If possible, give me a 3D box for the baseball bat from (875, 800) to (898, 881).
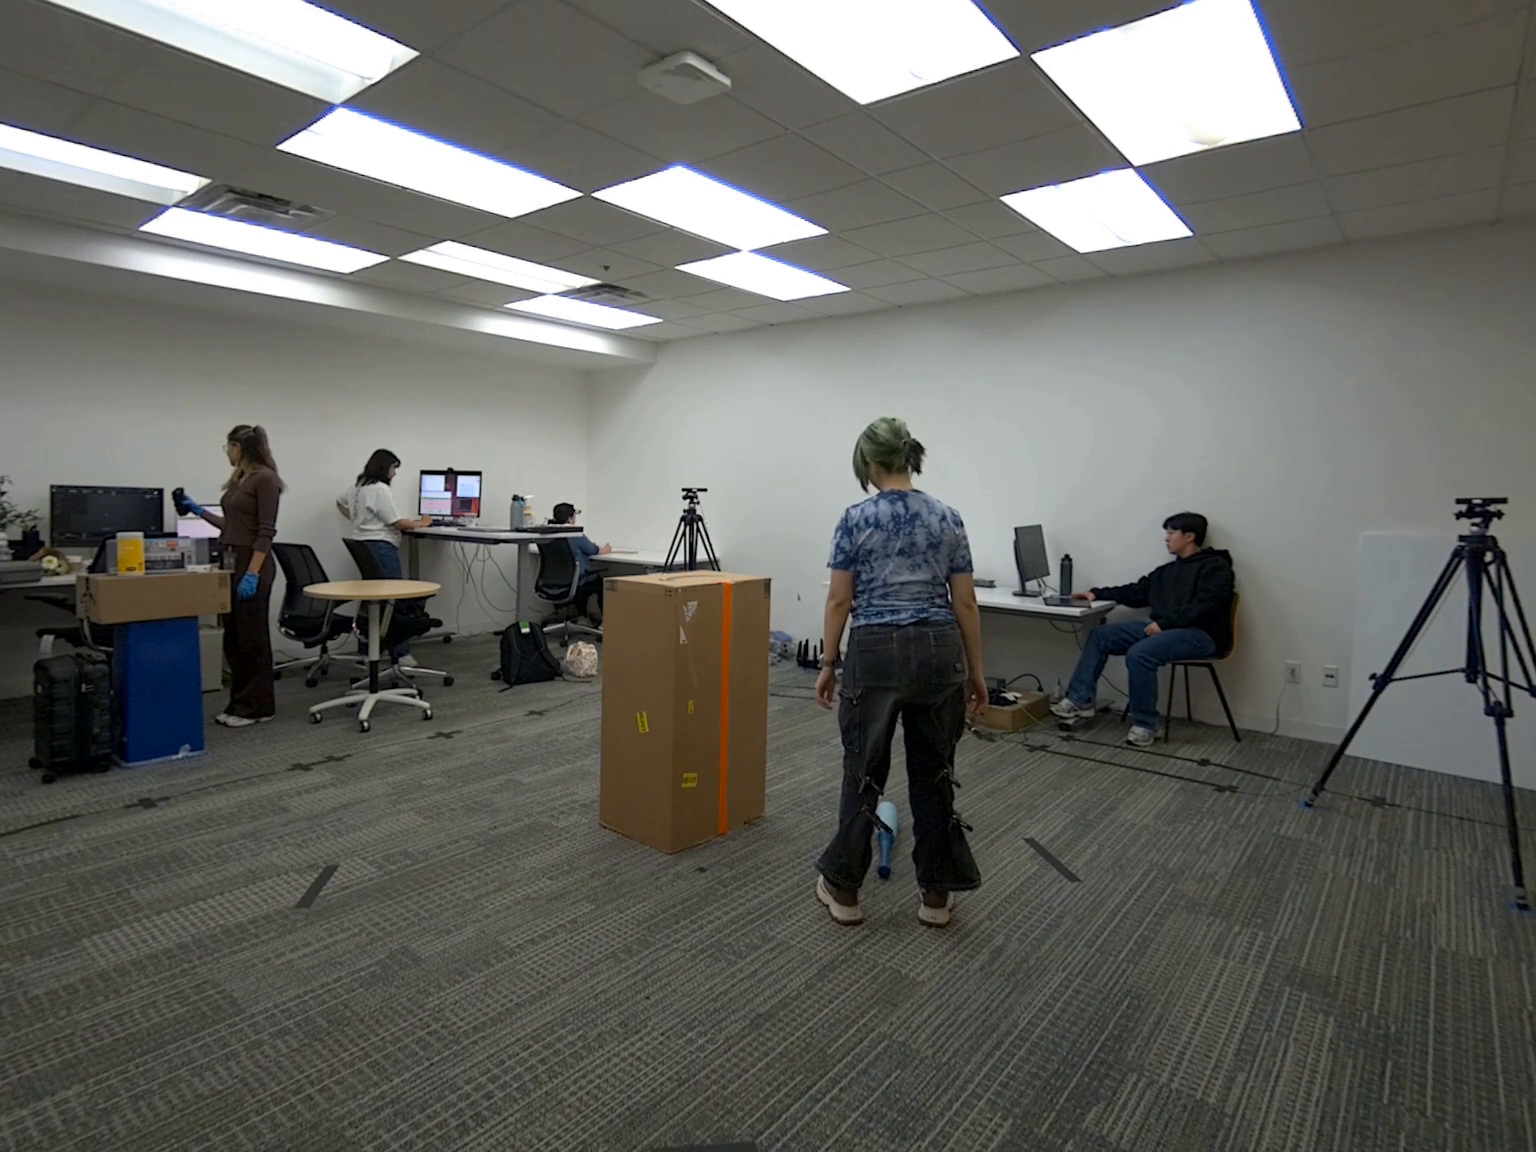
[{"bbox_3d":[0.451,1.031,3.328,0.090,0.088,0.541,1,9,8],"label":"baseball bat"}]
